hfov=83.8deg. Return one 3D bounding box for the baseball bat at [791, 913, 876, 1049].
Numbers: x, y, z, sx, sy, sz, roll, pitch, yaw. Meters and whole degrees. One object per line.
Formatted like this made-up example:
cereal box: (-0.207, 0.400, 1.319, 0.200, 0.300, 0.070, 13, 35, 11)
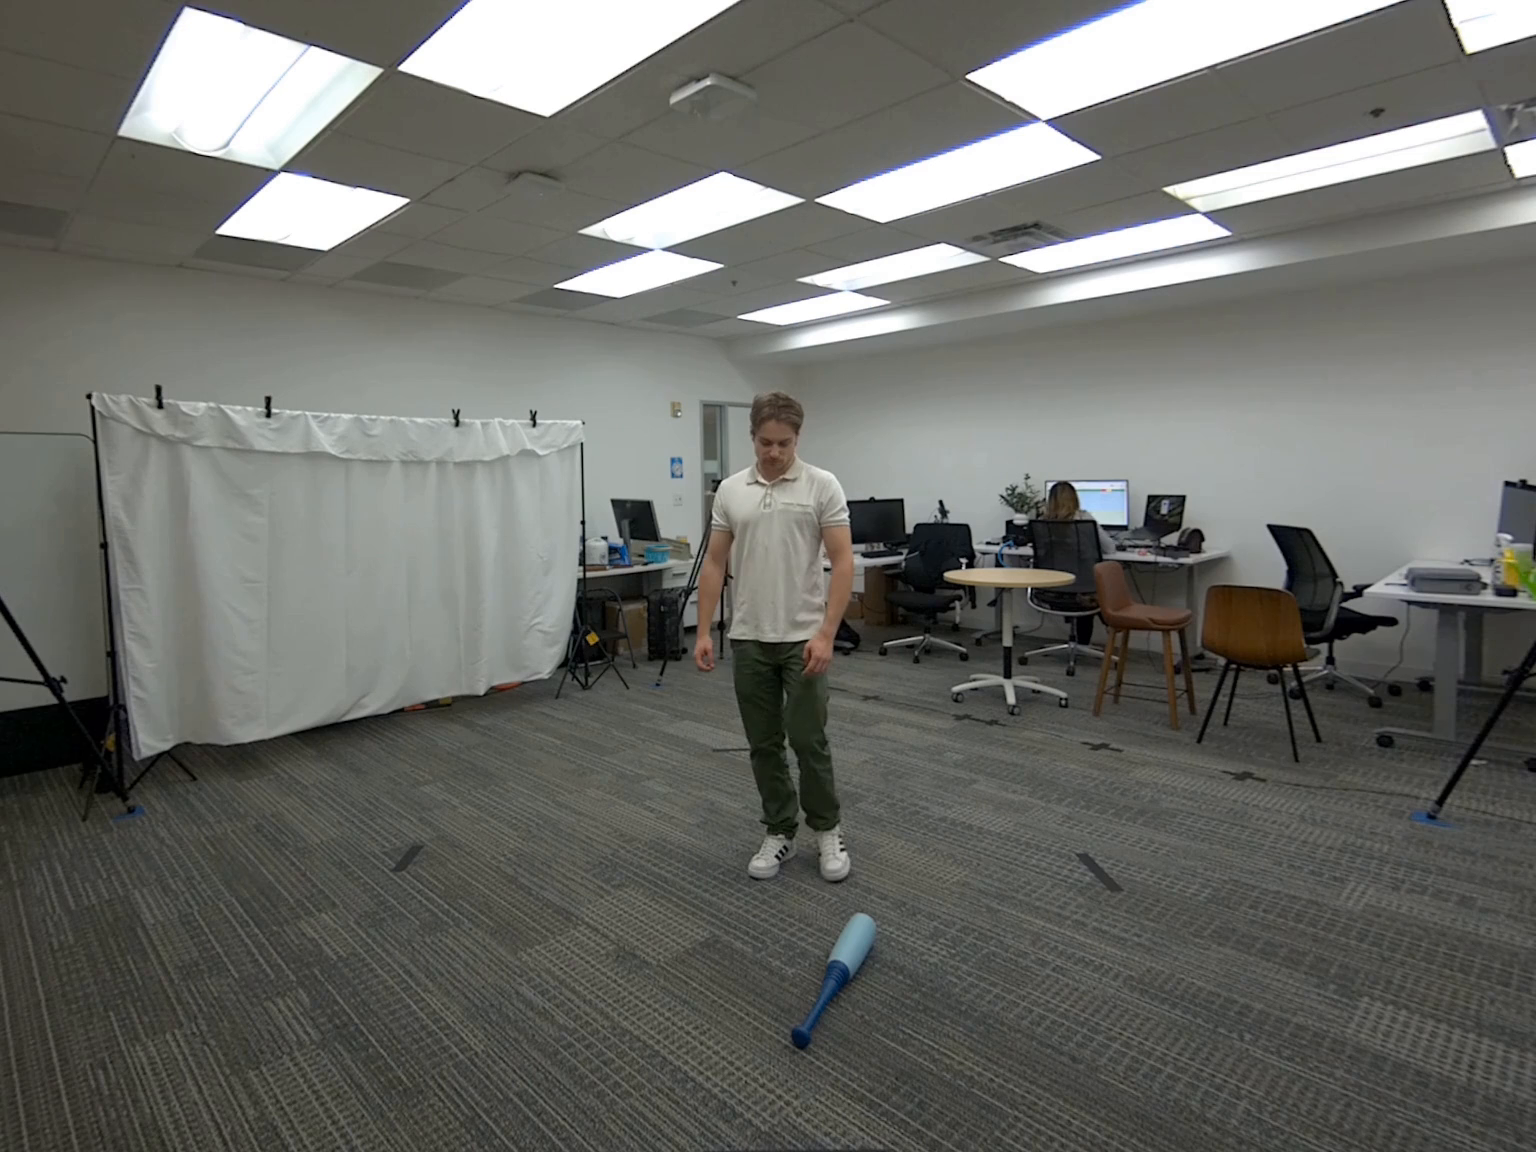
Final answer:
baseball bat: (0.193, 1.104, 2.330, 0.091, 0.088, 0.535, 1, 10, 22)
